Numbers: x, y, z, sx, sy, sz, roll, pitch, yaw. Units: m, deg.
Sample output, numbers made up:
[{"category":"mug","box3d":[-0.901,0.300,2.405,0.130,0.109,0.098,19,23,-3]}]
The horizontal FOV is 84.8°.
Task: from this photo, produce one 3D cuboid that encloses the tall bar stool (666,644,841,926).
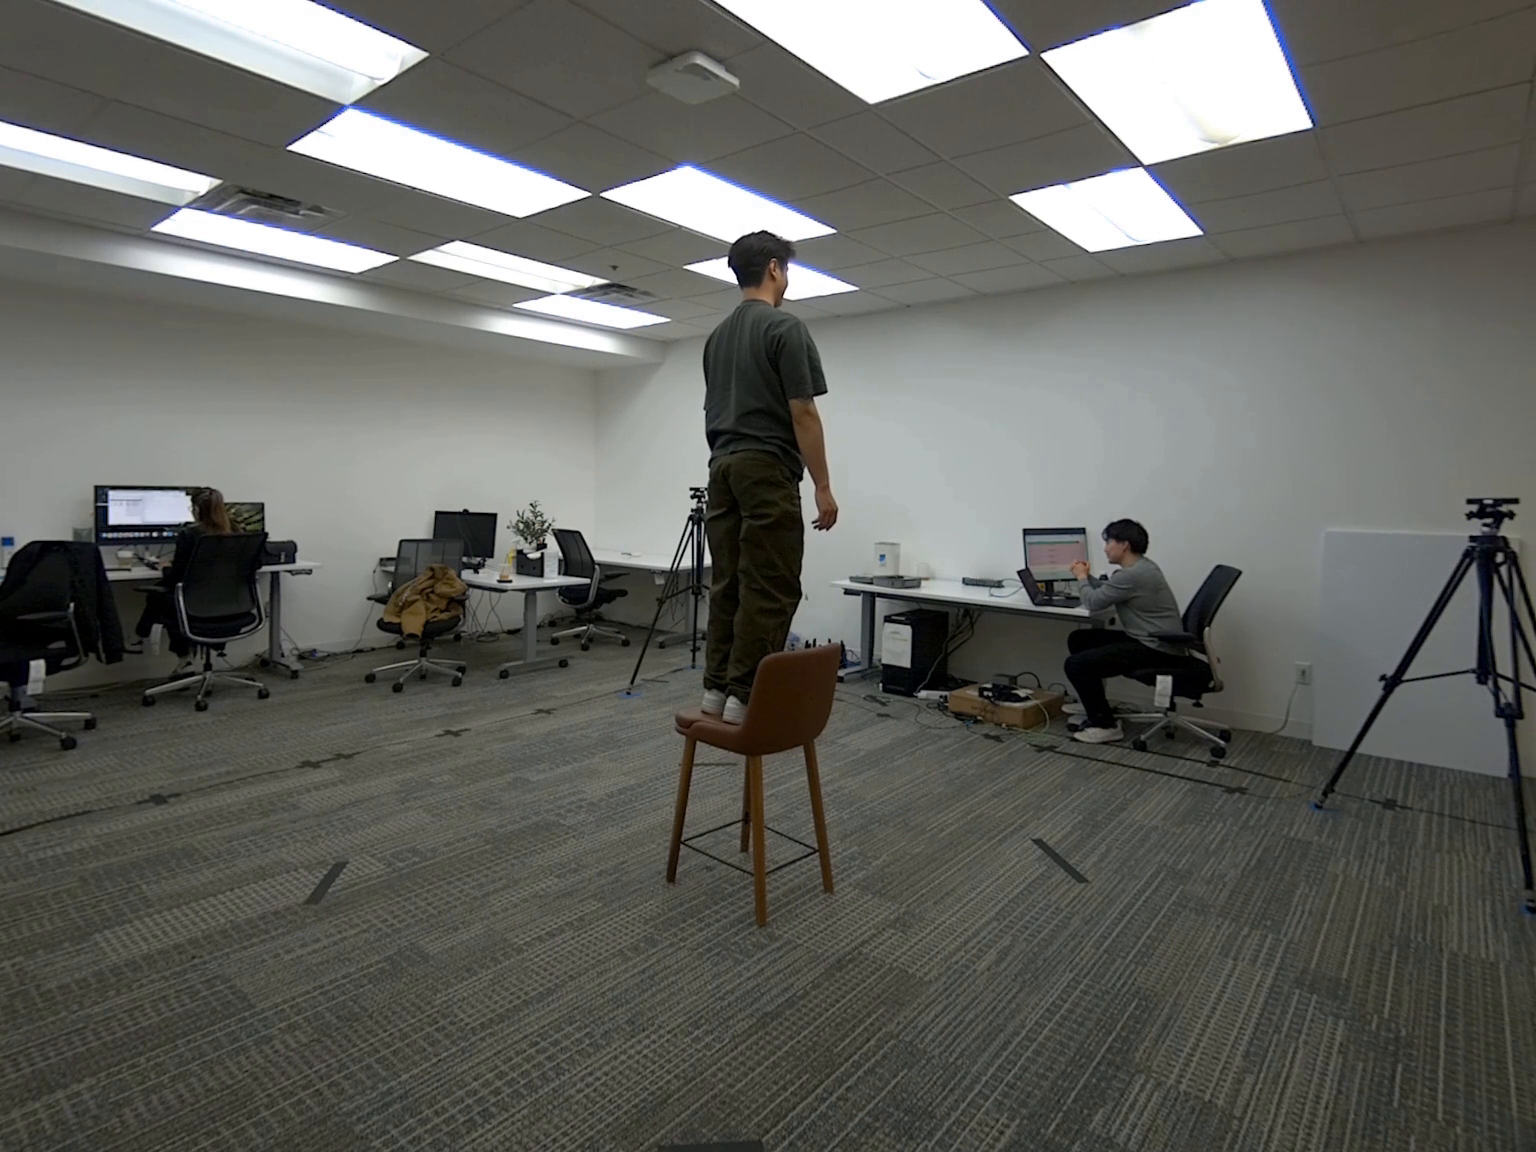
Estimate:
[{"category":"tall bar stool","box3d":[-0.053,0.648,2.958,0.484,0.886,0.442,7,6,43]}]
